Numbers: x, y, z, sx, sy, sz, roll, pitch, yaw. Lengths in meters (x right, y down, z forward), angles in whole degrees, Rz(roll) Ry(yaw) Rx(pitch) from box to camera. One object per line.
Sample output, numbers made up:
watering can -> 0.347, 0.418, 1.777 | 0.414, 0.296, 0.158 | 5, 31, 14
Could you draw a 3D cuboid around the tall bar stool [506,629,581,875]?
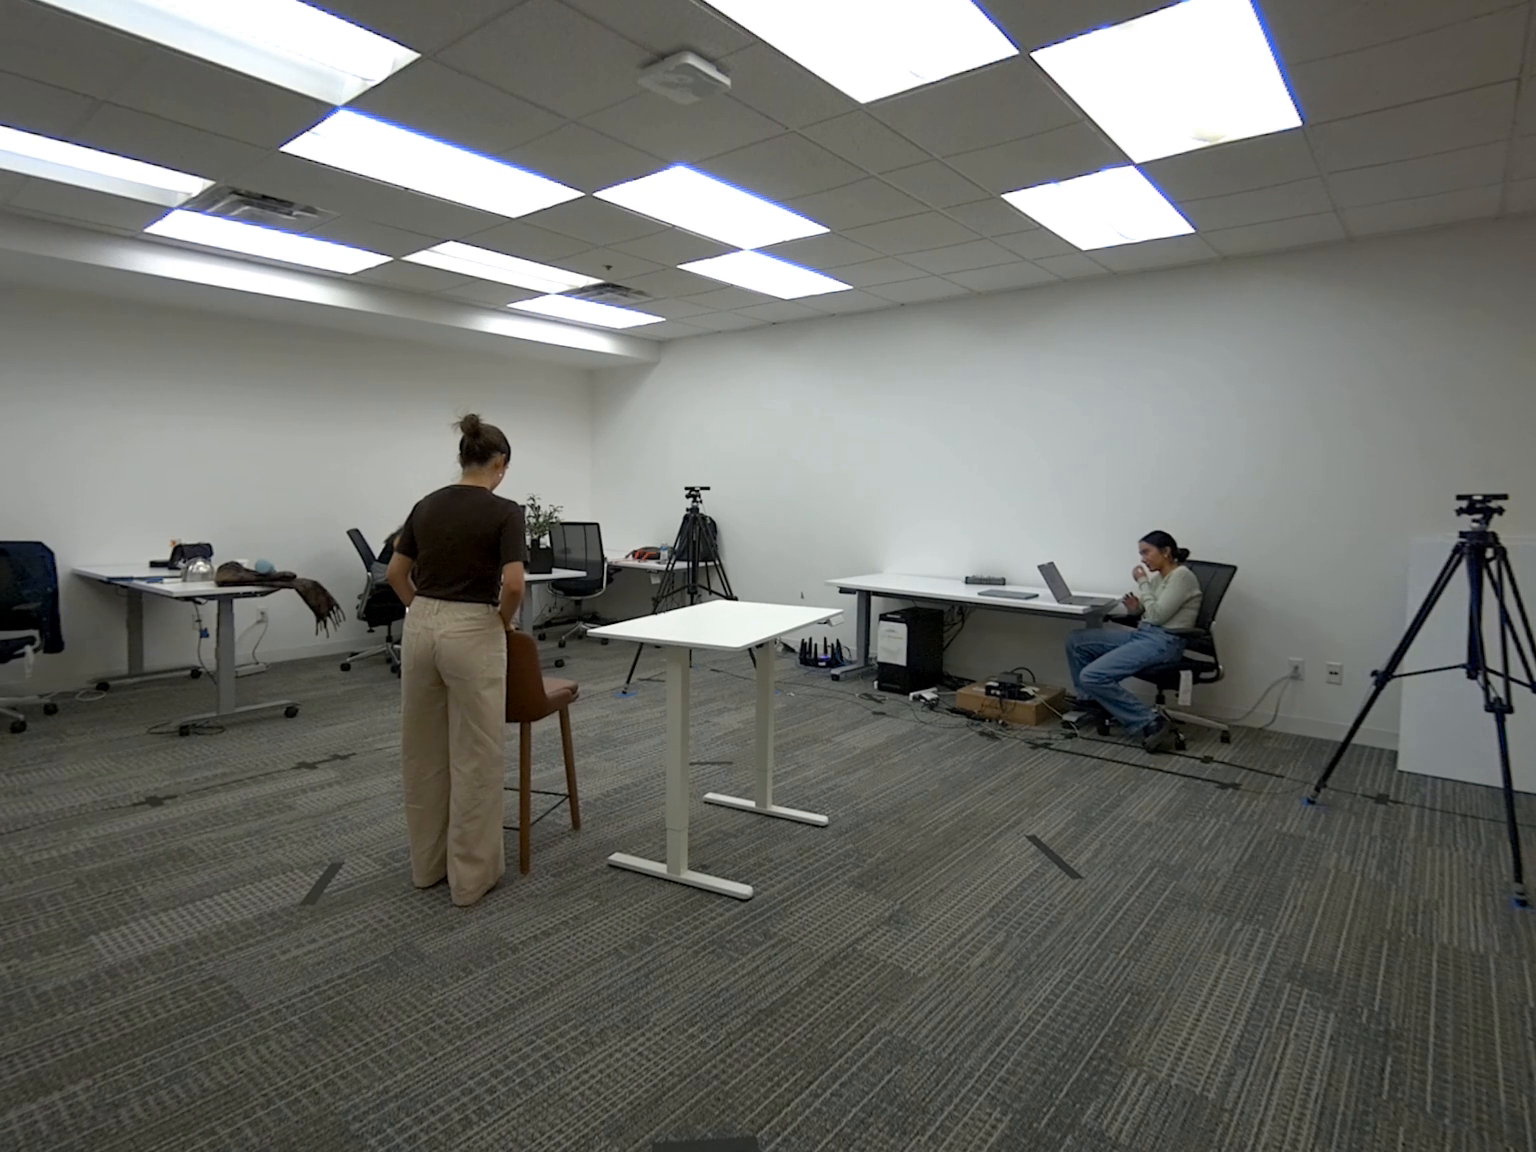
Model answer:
tall bar stool -> -1.012, 0.602, 3.271 | 0.464, 0.885, 0.463 | 1, 6, 14
